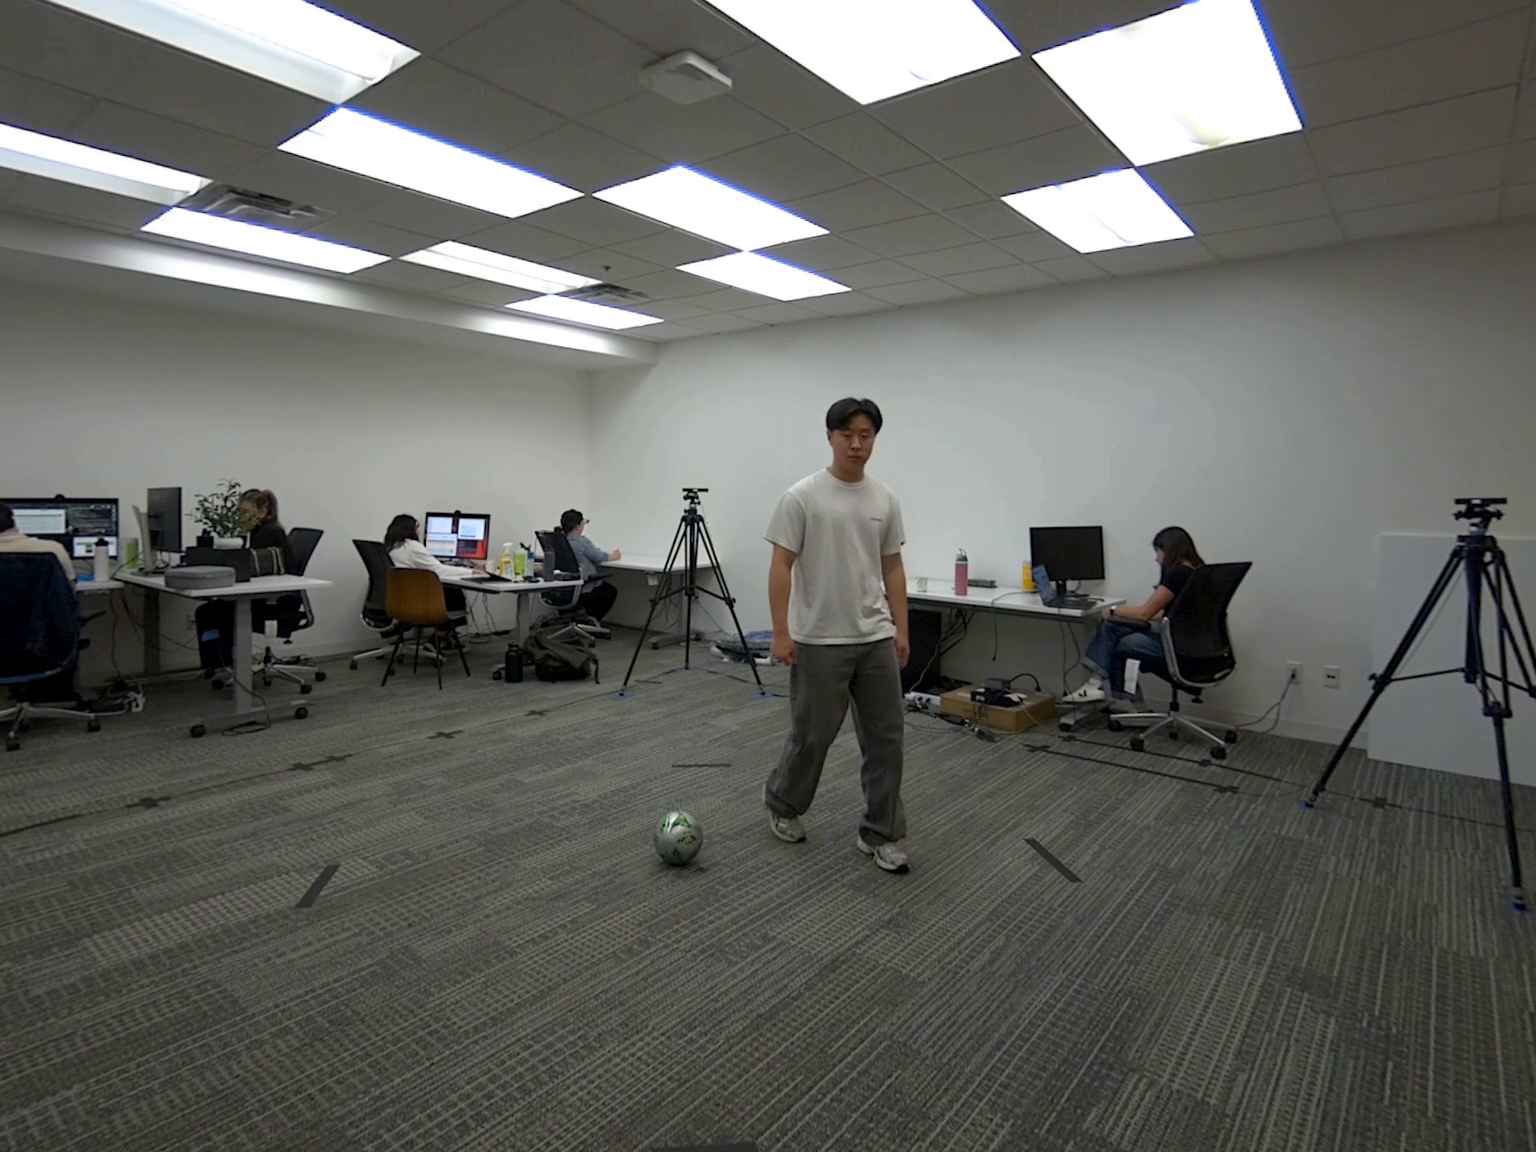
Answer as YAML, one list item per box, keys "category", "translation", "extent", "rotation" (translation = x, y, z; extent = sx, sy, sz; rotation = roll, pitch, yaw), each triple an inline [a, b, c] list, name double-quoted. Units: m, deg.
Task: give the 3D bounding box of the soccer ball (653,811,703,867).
- category: "soccer ball"
  translation: [-0.334, 0.966, 3.174]
  extent: [0.187, 0.187, 0.188]
  rotation: [1, 4, -2]
